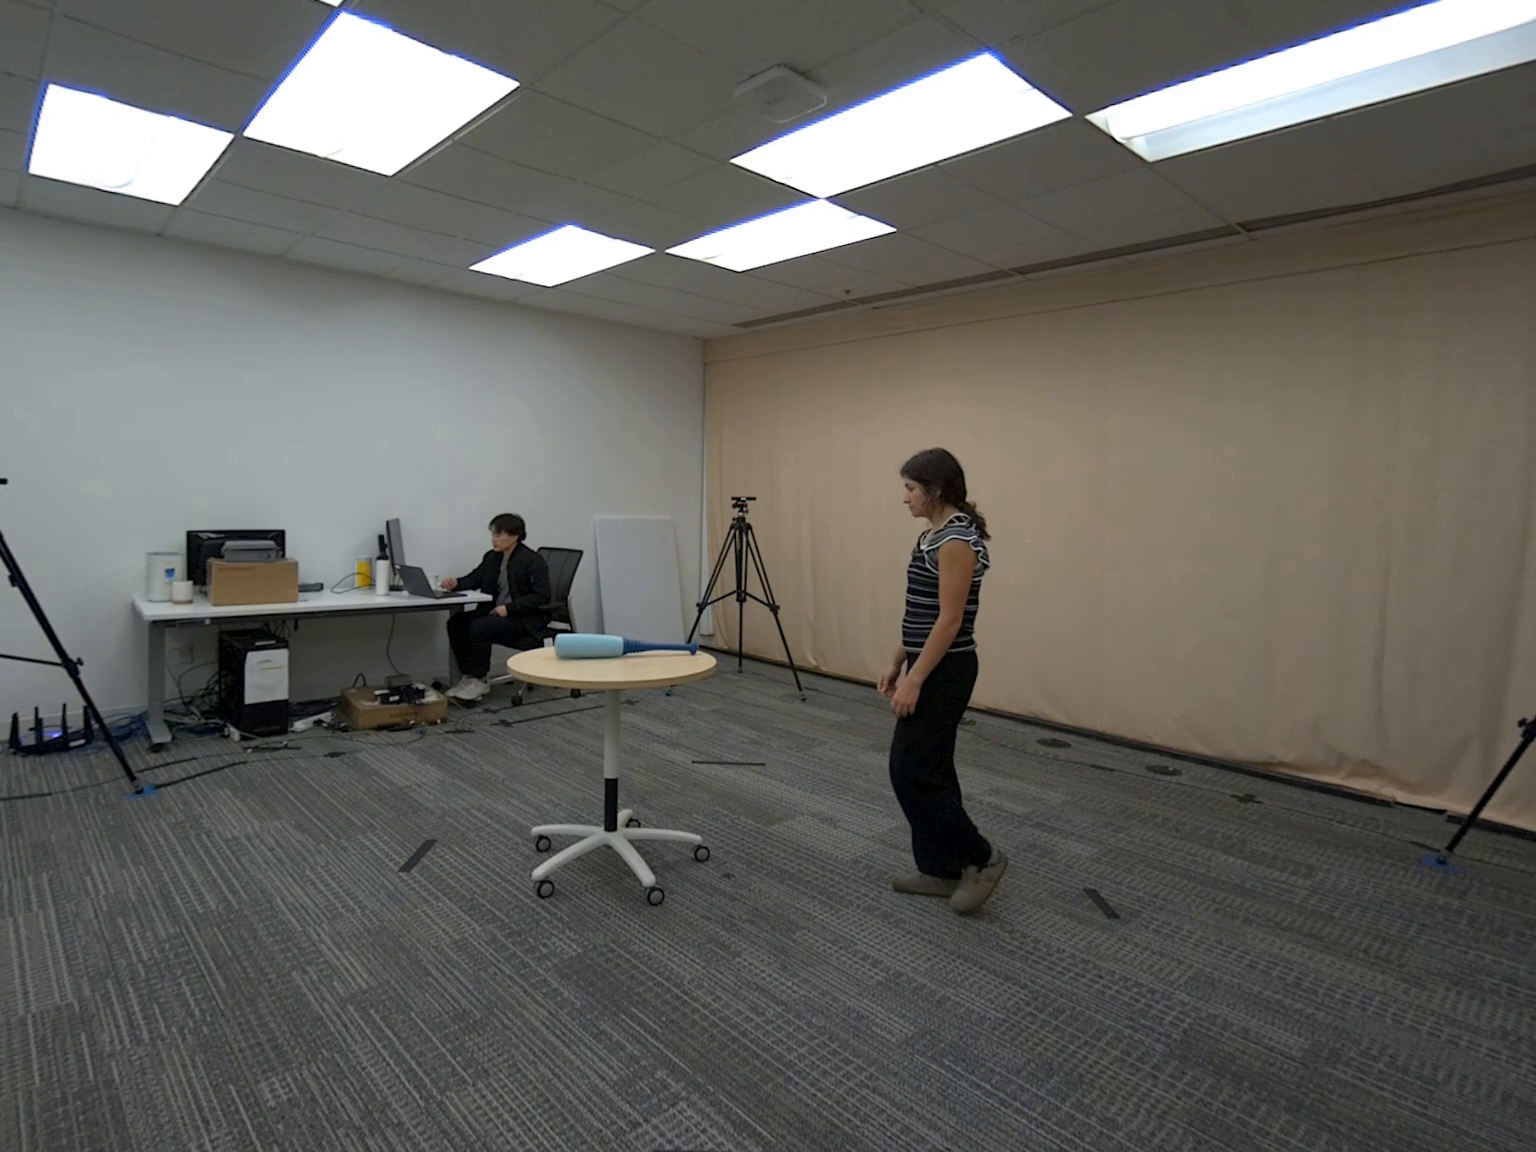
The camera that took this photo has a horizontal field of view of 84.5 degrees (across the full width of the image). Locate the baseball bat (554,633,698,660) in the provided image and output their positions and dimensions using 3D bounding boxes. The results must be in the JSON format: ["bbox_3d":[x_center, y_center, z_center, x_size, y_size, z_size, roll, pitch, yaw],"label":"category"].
[{"bbox_3d":[-0.541,0.271,3.198,0.535,0.089,0.090,2,4,-18],"label":"baseball bat"}]
